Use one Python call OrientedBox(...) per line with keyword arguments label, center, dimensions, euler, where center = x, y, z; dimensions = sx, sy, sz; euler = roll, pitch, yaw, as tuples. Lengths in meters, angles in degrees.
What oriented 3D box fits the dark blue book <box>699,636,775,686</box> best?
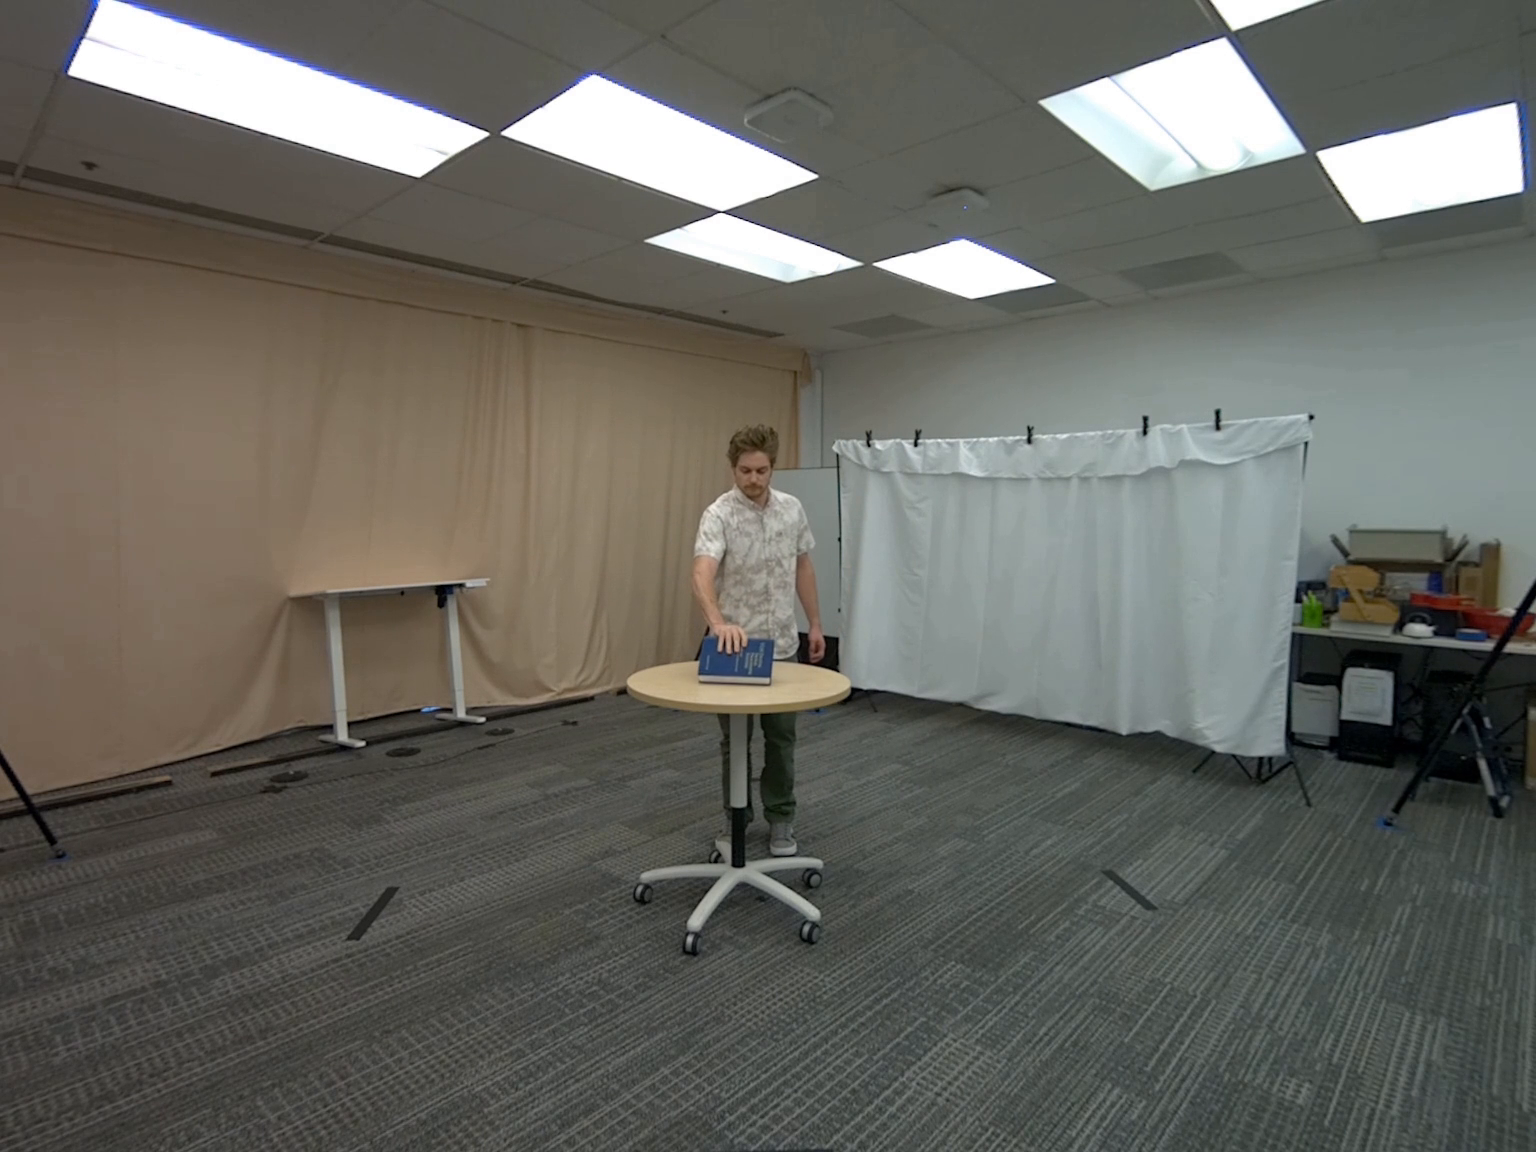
OrientedBox(label="dark blue book", center=(-0.104, 0.283, 2.856), dimensions=(0.247, 0.044, 0.166), euler=(-1, 47, 5))
